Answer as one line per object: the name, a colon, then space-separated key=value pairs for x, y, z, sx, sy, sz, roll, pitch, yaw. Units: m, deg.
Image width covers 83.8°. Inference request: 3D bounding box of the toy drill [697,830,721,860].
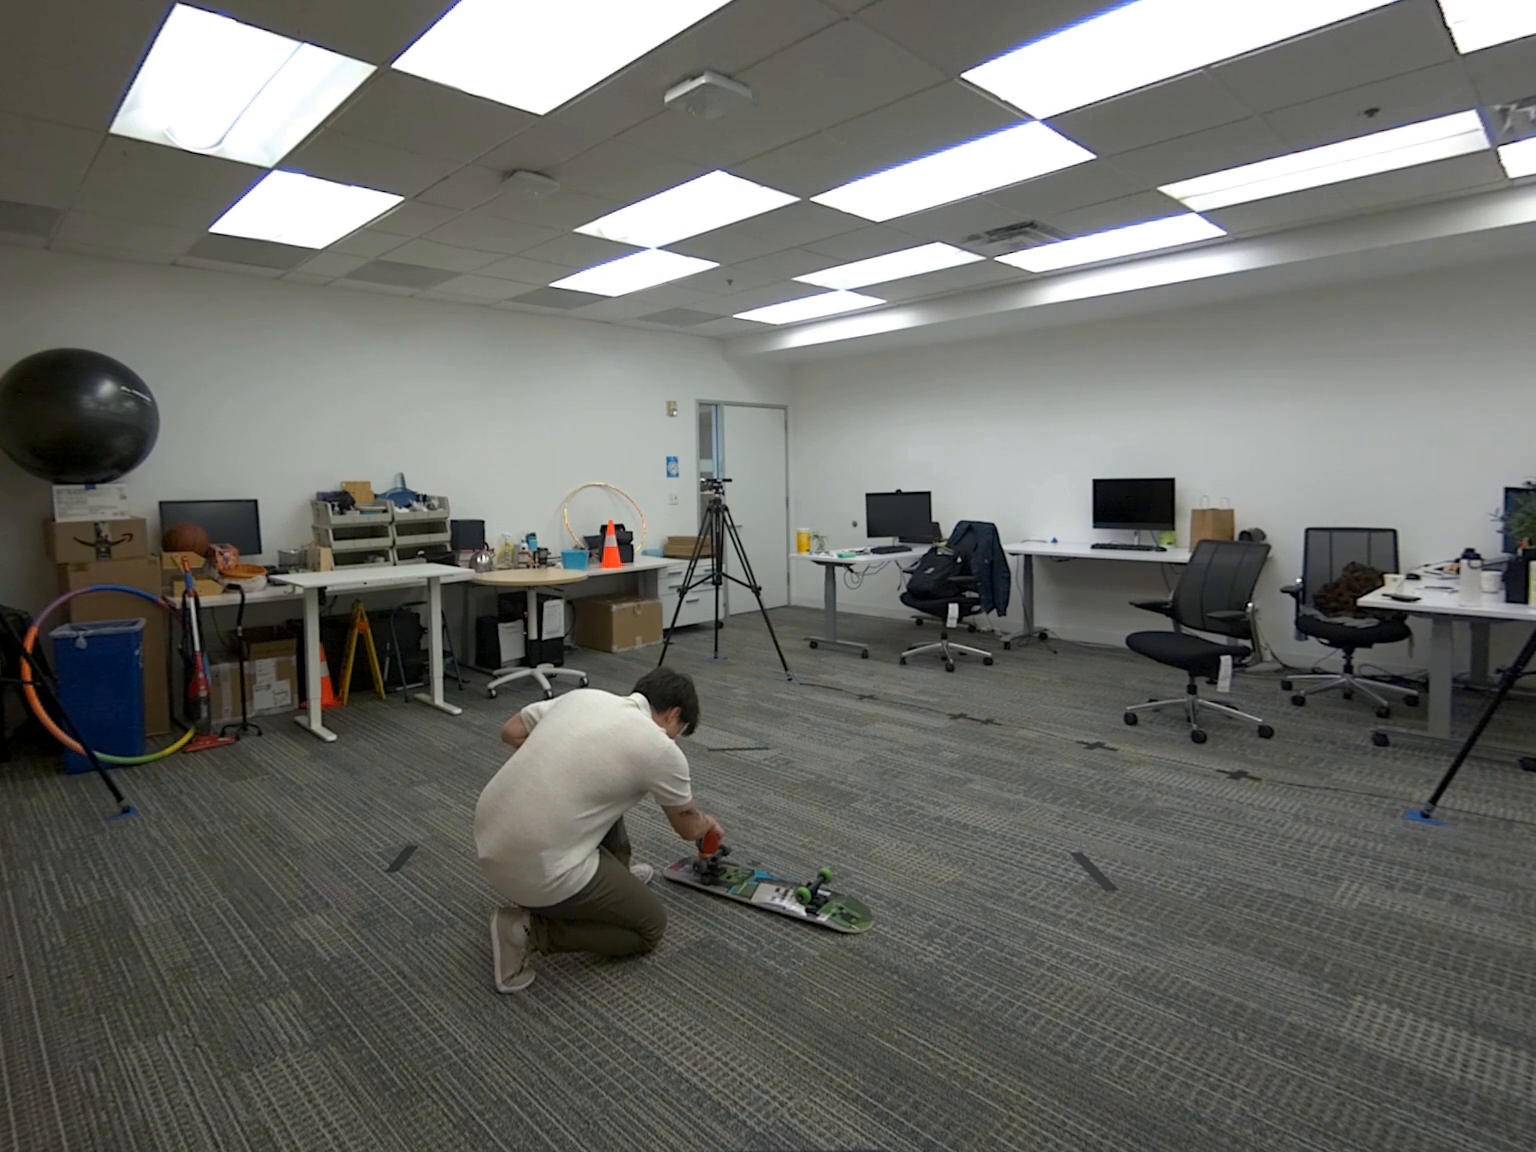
toy drill: x=-0.210 y=0.939 z=2.940 sx=0.061 sy=0.169 sz=0.146 roll=9 pitch=3 yaw=-1
